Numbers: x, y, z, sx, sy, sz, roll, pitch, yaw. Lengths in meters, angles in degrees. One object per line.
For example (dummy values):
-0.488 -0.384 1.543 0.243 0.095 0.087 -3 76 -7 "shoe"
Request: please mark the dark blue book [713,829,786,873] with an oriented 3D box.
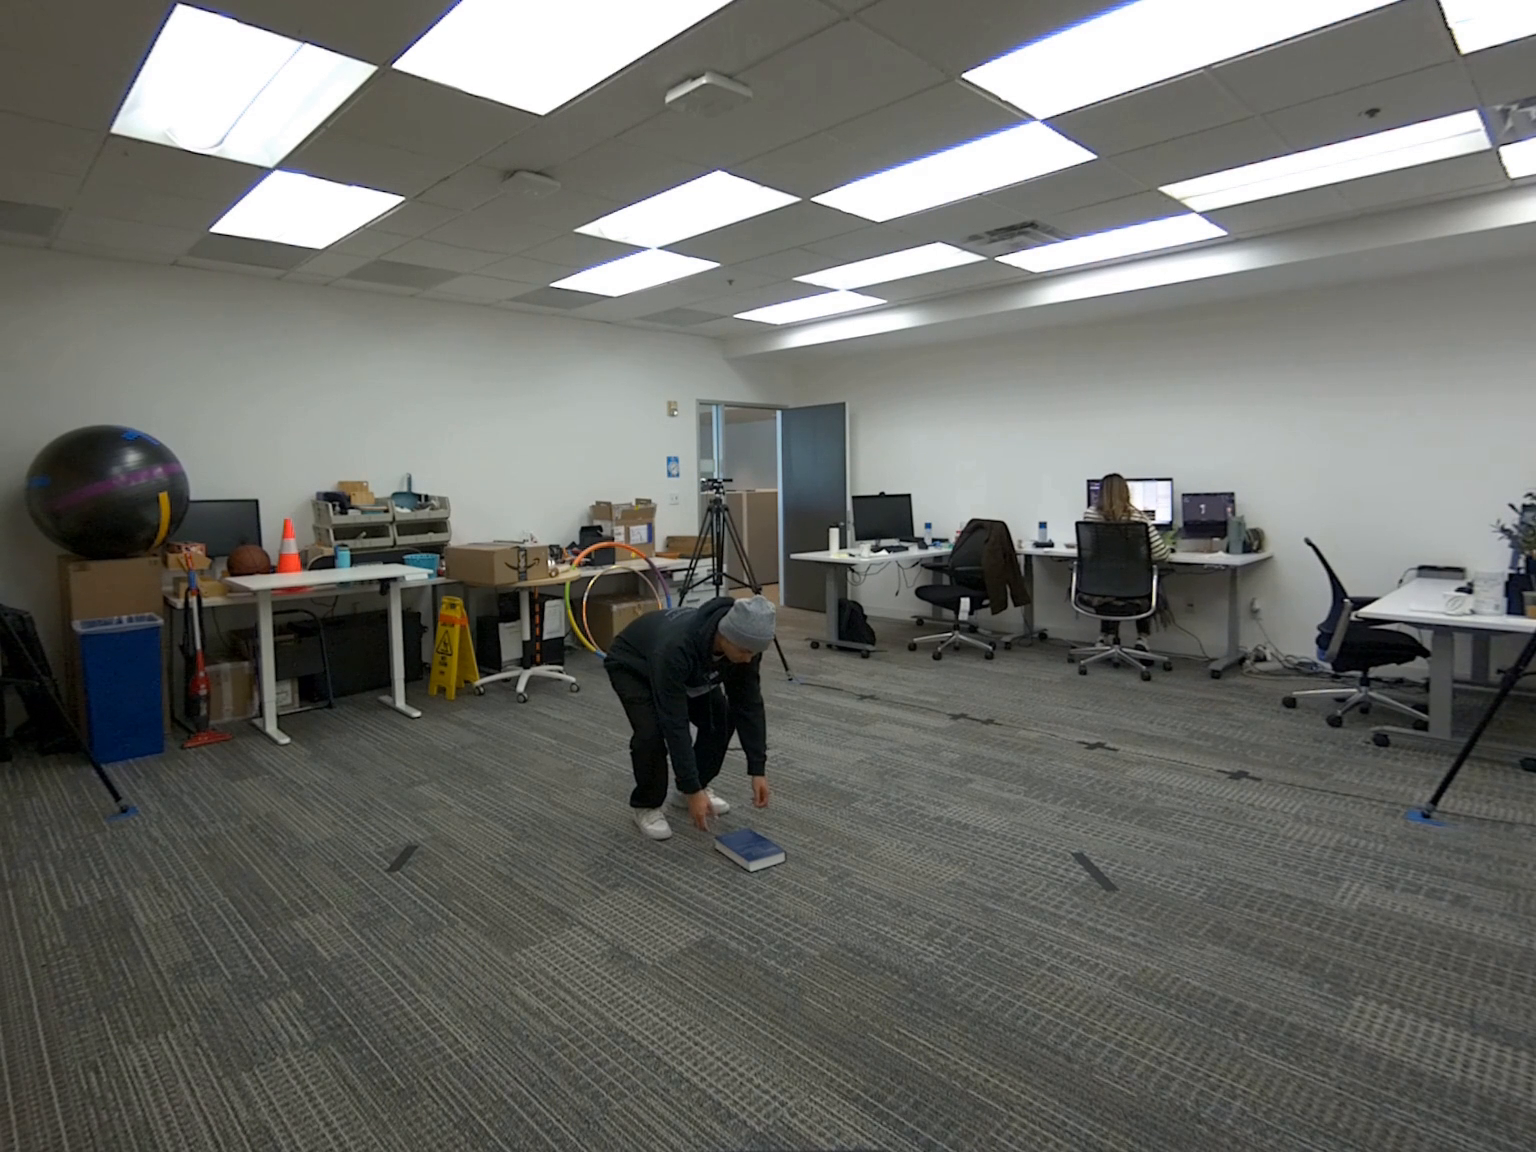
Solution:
-0.065 1.014 3.167 0.159 0.045 0.252 -6 8 -33 "dark blue book"
